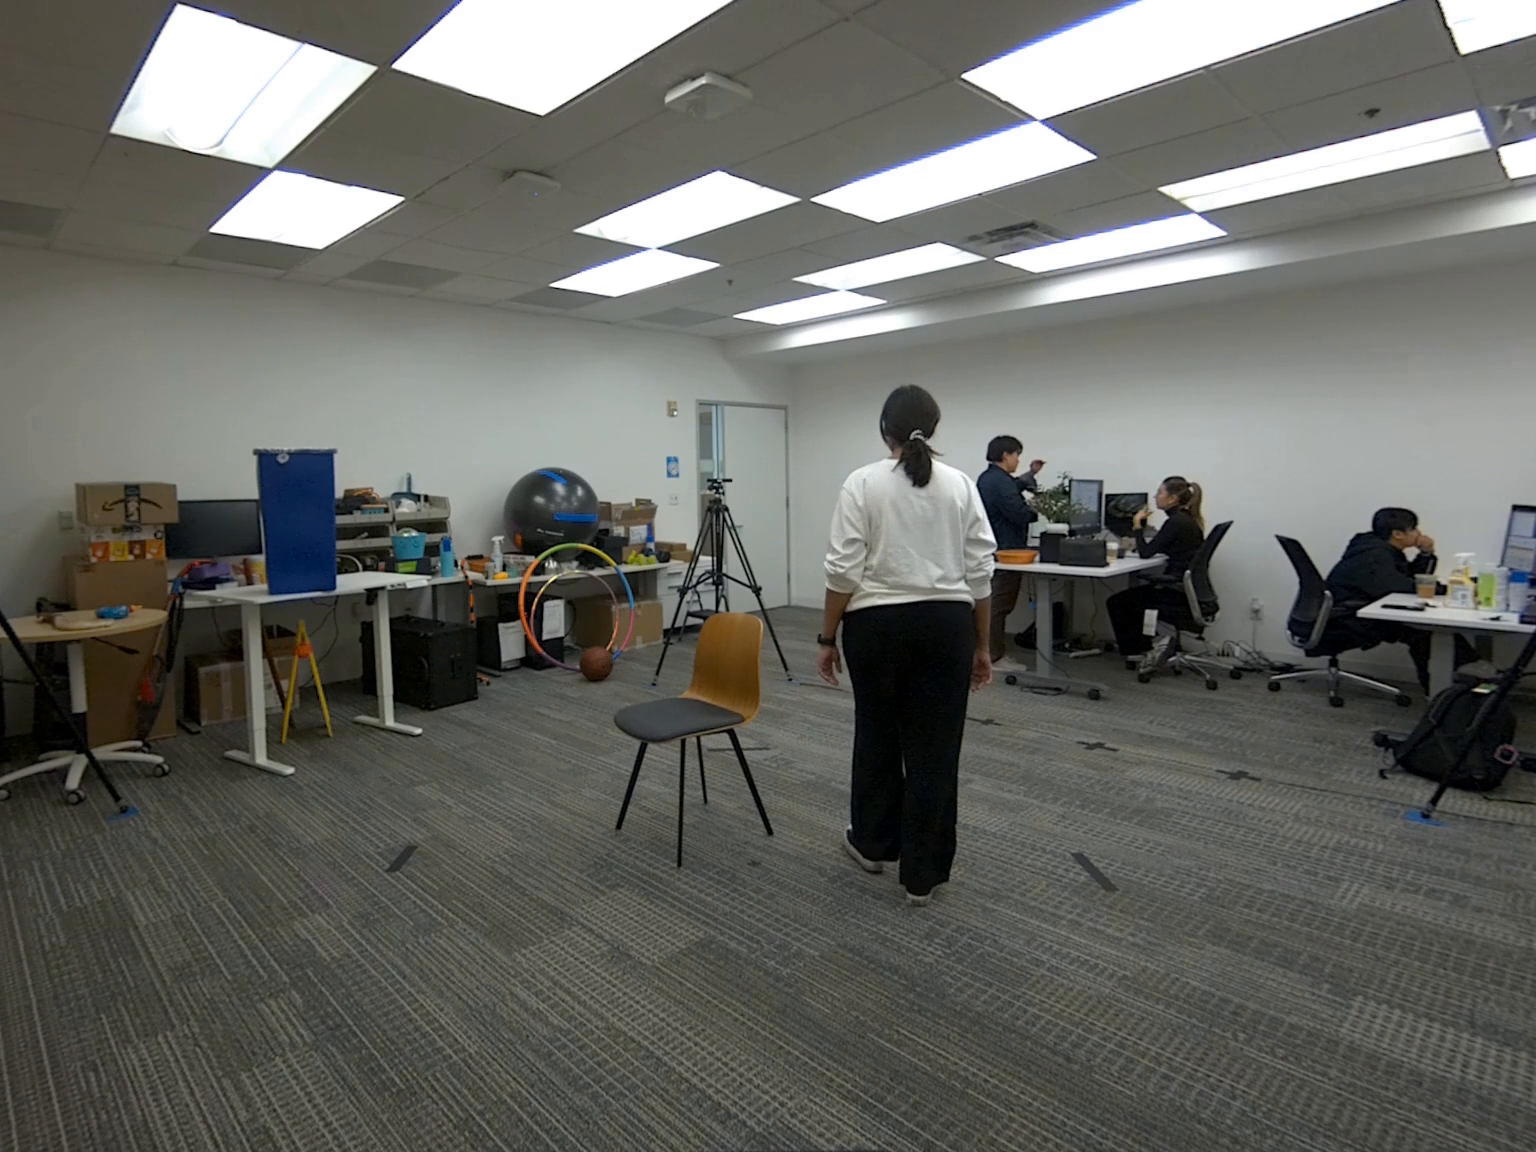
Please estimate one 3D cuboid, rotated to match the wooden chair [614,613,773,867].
[{"bbox_3d":[-0.306,0.593,3.360,0.508,0.876,0.492,1,2,-39],"label":"wooden chair"}]
